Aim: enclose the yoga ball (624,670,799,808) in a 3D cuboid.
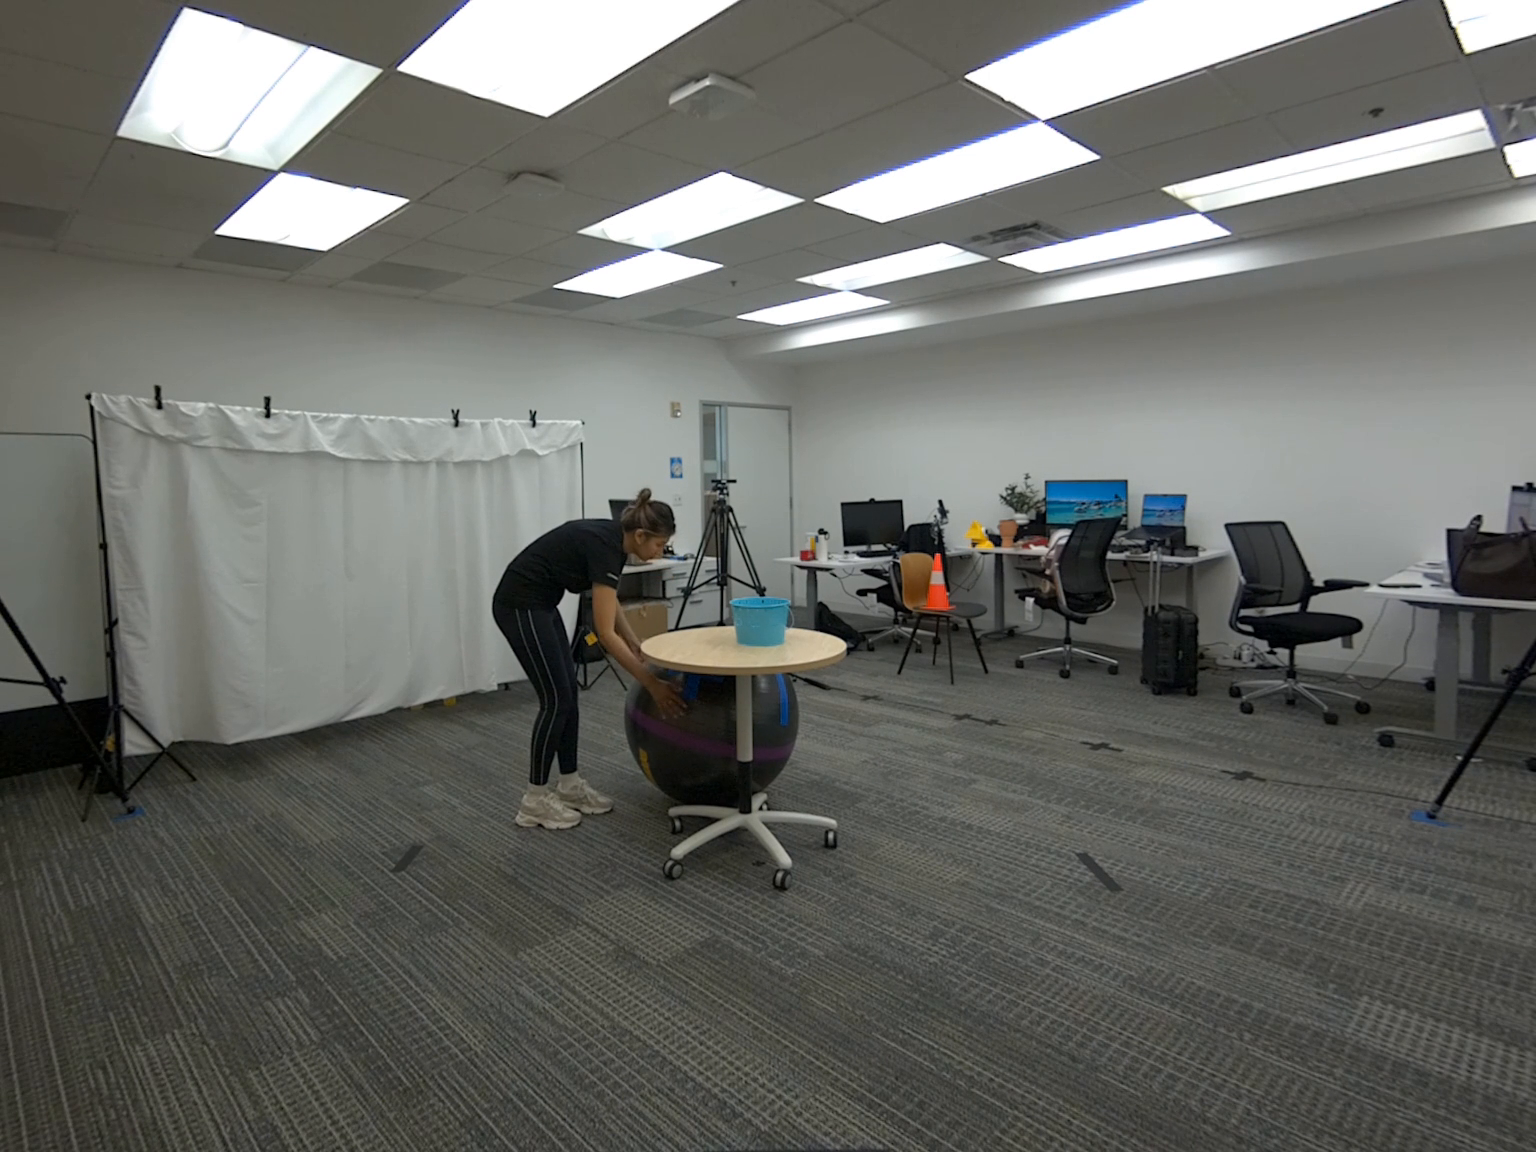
[{"bbox_3d":[-0.244,0.614,3.729,0.757,0.755,0.762,-1,5,-2],"label":"yoga ball"}]
